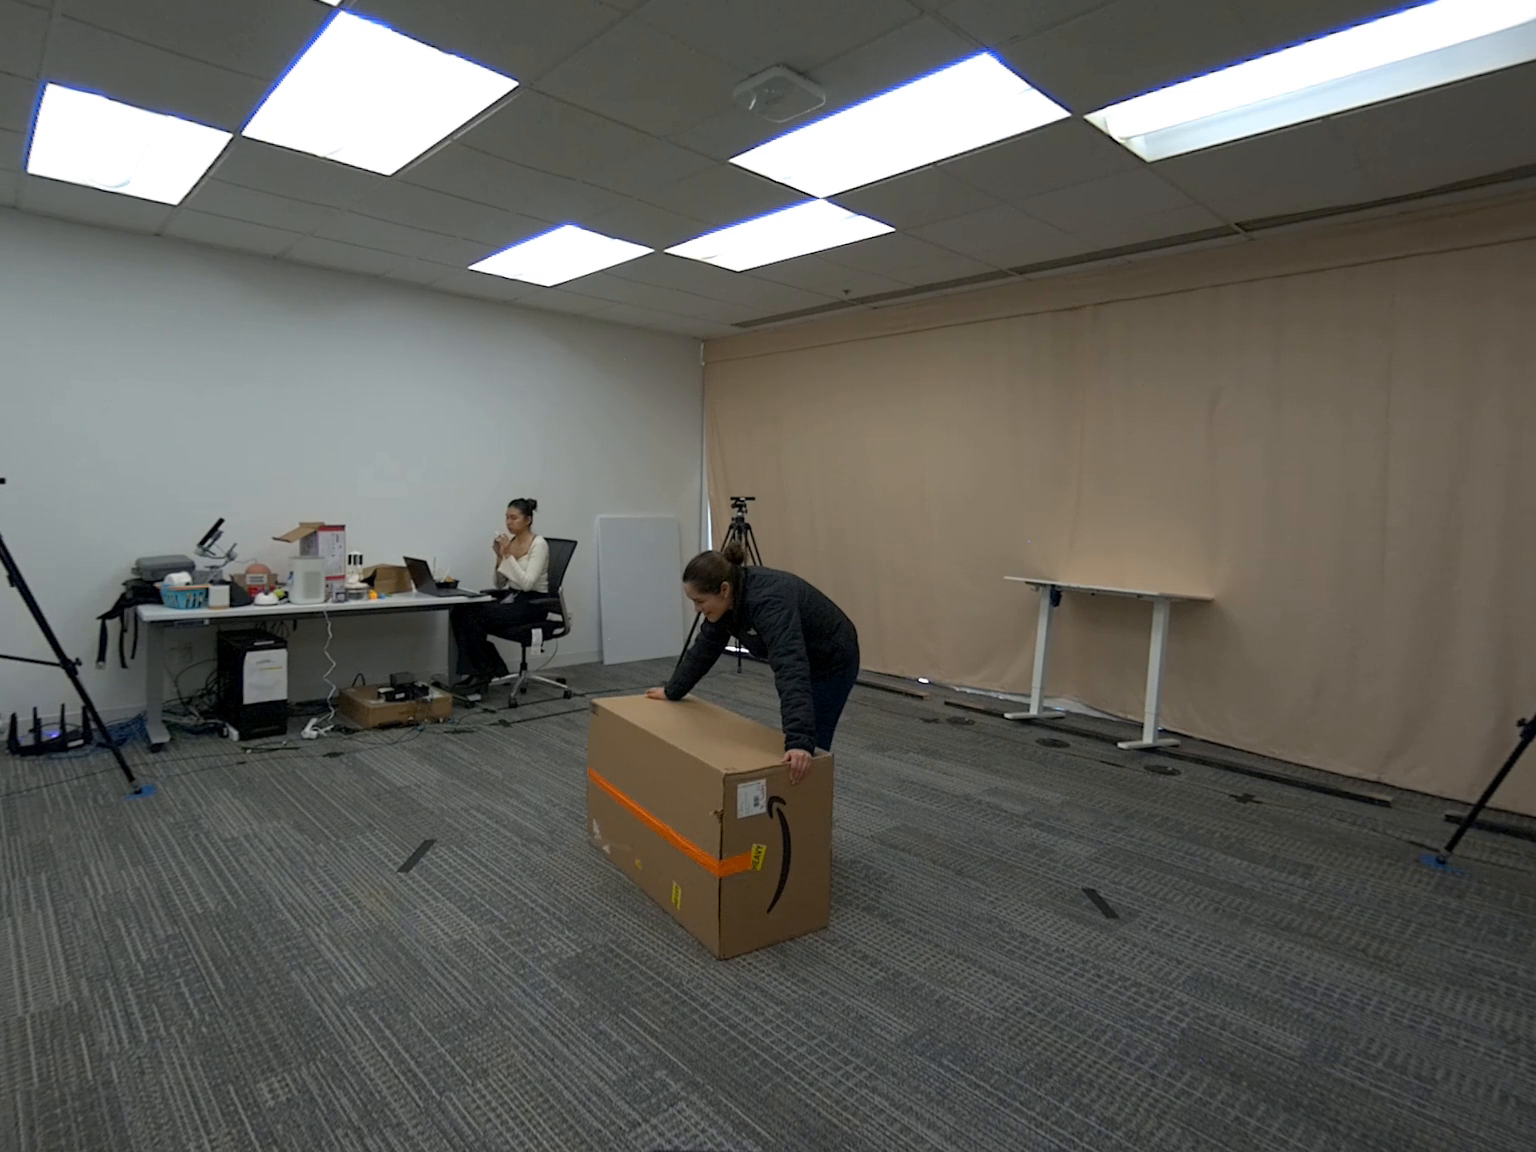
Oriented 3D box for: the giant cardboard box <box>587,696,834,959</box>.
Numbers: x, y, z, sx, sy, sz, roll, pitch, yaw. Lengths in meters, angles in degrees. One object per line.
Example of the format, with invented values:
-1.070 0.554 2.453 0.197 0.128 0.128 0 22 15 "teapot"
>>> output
-0.261 0.827 3.032 0.437 0.583 1.051 1 4 -33 "giant cardboard box"
